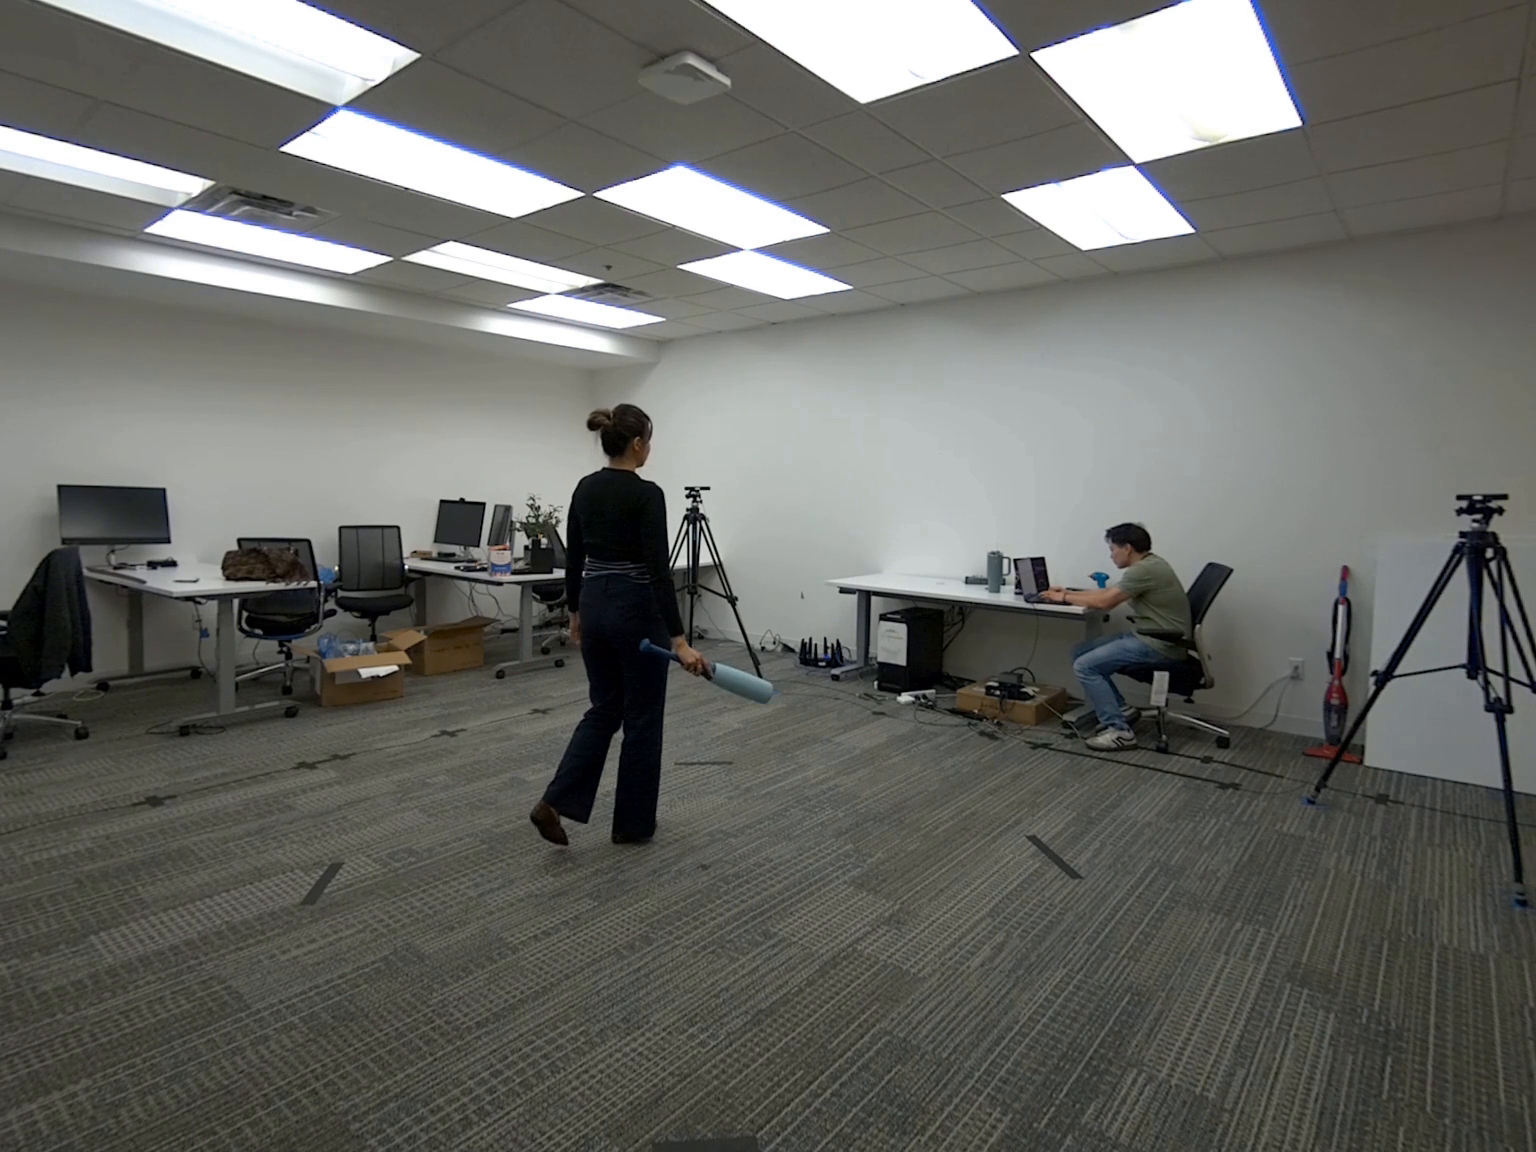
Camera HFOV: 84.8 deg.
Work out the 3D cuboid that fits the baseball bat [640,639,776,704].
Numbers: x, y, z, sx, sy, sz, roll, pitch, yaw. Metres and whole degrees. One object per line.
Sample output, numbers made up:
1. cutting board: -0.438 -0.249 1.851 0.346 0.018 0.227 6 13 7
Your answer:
1. baseball bat: -0.219 0.321 3.150 0.530 0.089 0.091 22 -3 -18
